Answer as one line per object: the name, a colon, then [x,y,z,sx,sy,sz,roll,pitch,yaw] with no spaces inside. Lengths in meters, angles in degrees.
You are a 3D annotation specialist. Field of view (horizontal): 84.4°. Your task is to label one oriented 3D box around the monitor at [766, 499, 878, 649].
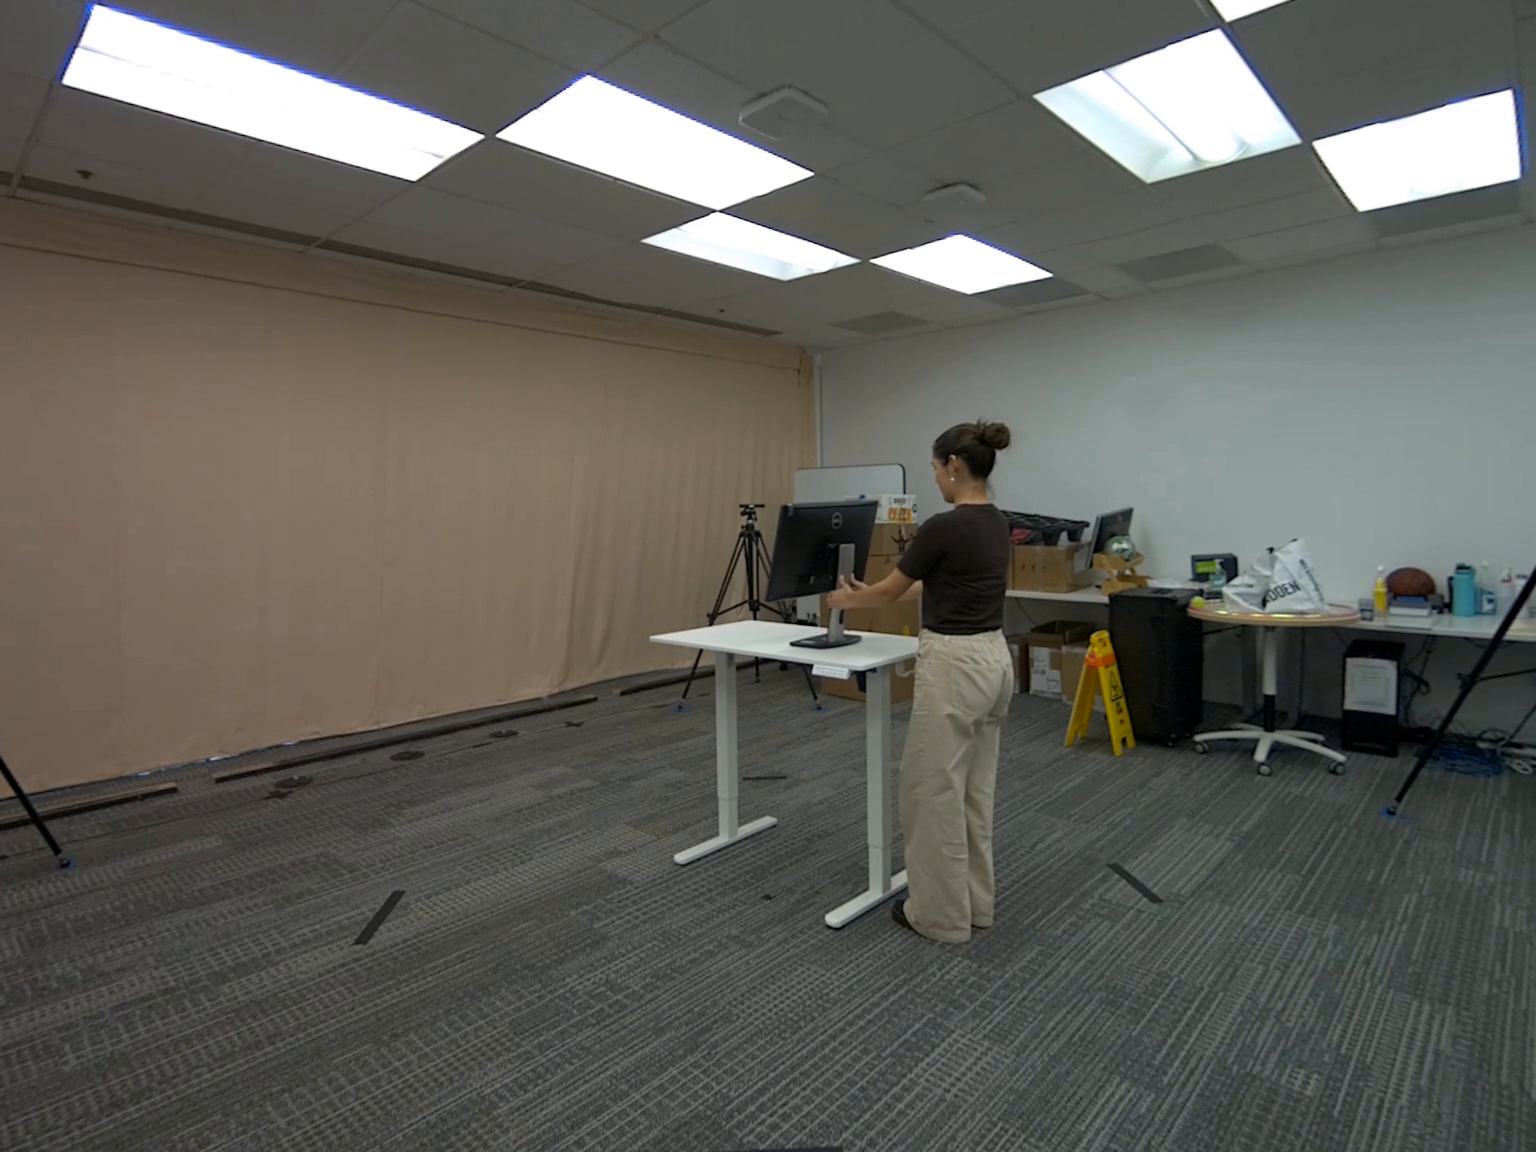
monitor: [0.227,-0.008,3.063,0.193,0.521,0.523,3,6,45]
